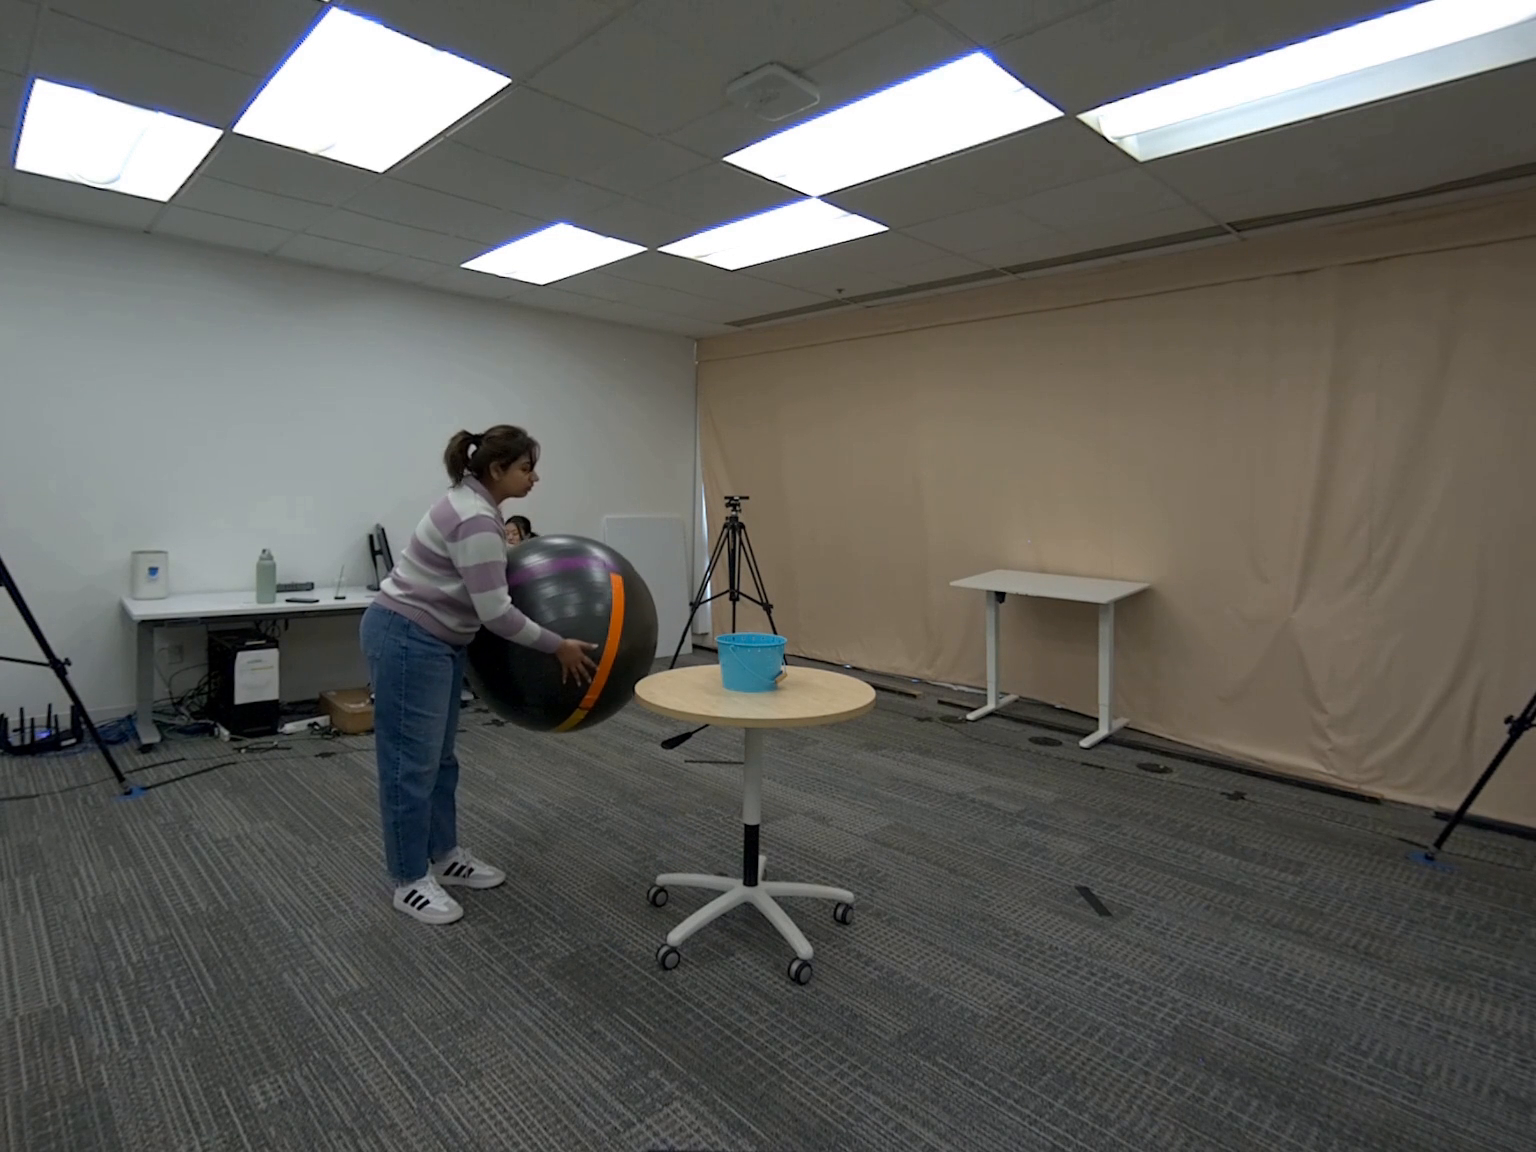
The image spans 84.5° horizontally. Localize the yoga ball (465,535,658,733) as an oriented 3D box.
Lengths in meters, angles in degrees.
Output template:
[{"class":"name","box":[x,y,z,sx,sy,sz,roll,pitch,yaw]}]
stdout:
[{"class":"yoga ball","box":[-0.807,0.226,3.249,0.757,0.756,0.761,1,4,-1]}]
